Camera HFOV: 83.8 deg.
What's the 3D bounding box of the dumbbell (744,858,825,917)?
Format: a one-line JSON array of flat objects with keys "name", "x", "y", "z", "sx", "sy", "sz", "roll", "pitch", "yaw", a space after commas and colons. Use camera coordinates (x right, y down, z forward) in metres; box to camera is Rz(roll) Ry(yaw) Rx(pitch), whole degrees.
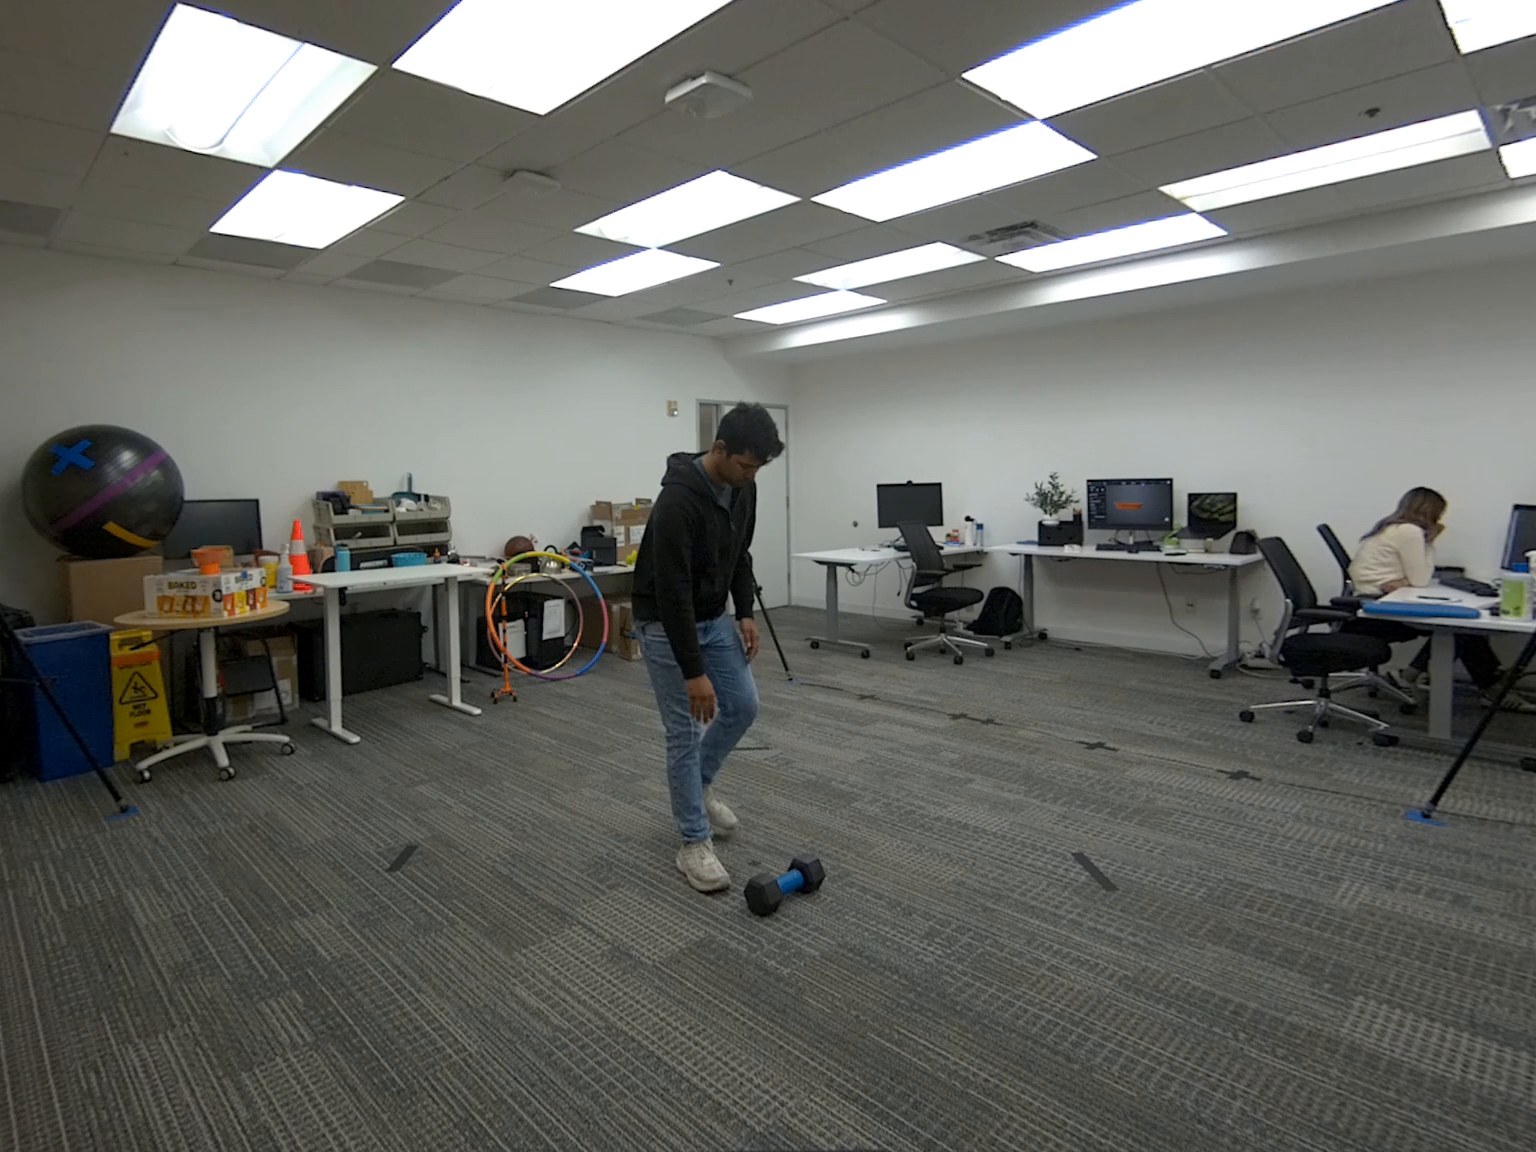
[{"name": "dumbbell", "x": 0.063, "y": 1.020, "z": 2.830, "sx": 0.286, "sy": 0.125, "sz": 0.109, "roll": -7, "pitch": -20, "yaw": -45}]
